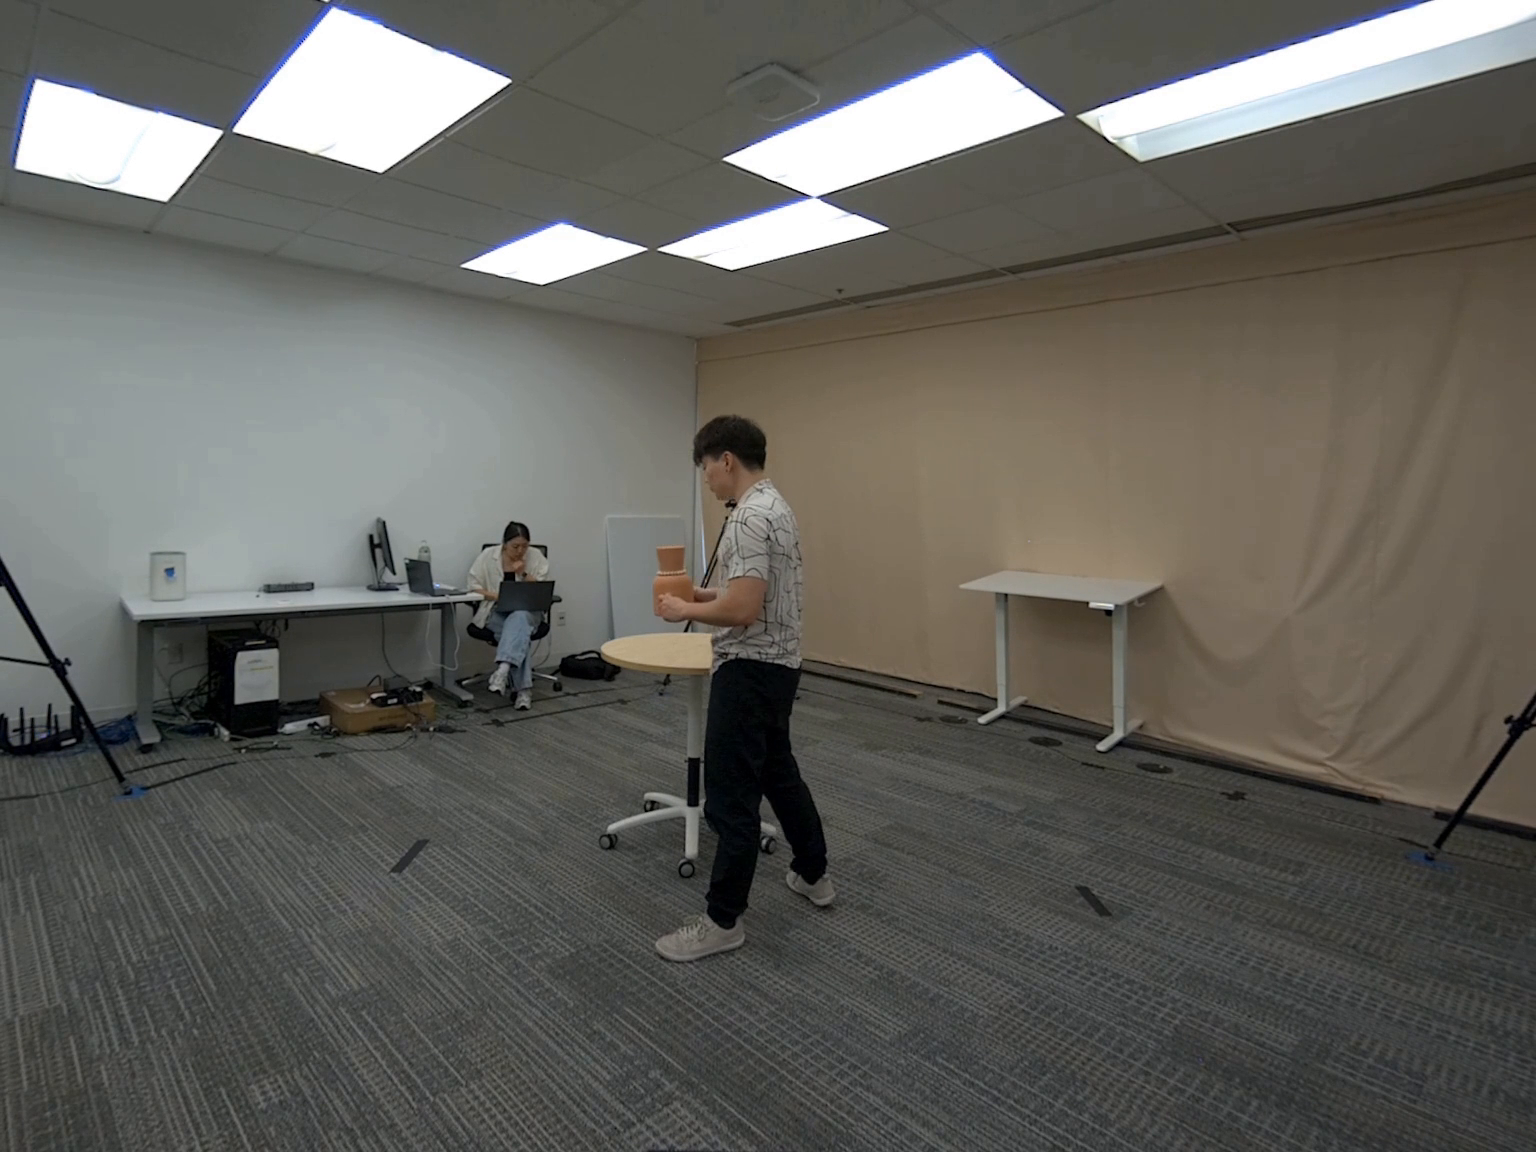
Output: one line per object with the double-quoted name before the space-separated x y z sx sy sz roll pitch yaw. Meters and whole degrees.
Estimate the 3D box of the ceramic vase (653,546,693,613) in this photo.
"ceramic vase" -0.313 0.013 2.768 0.132 0.219 0.162 -5 4 -29
